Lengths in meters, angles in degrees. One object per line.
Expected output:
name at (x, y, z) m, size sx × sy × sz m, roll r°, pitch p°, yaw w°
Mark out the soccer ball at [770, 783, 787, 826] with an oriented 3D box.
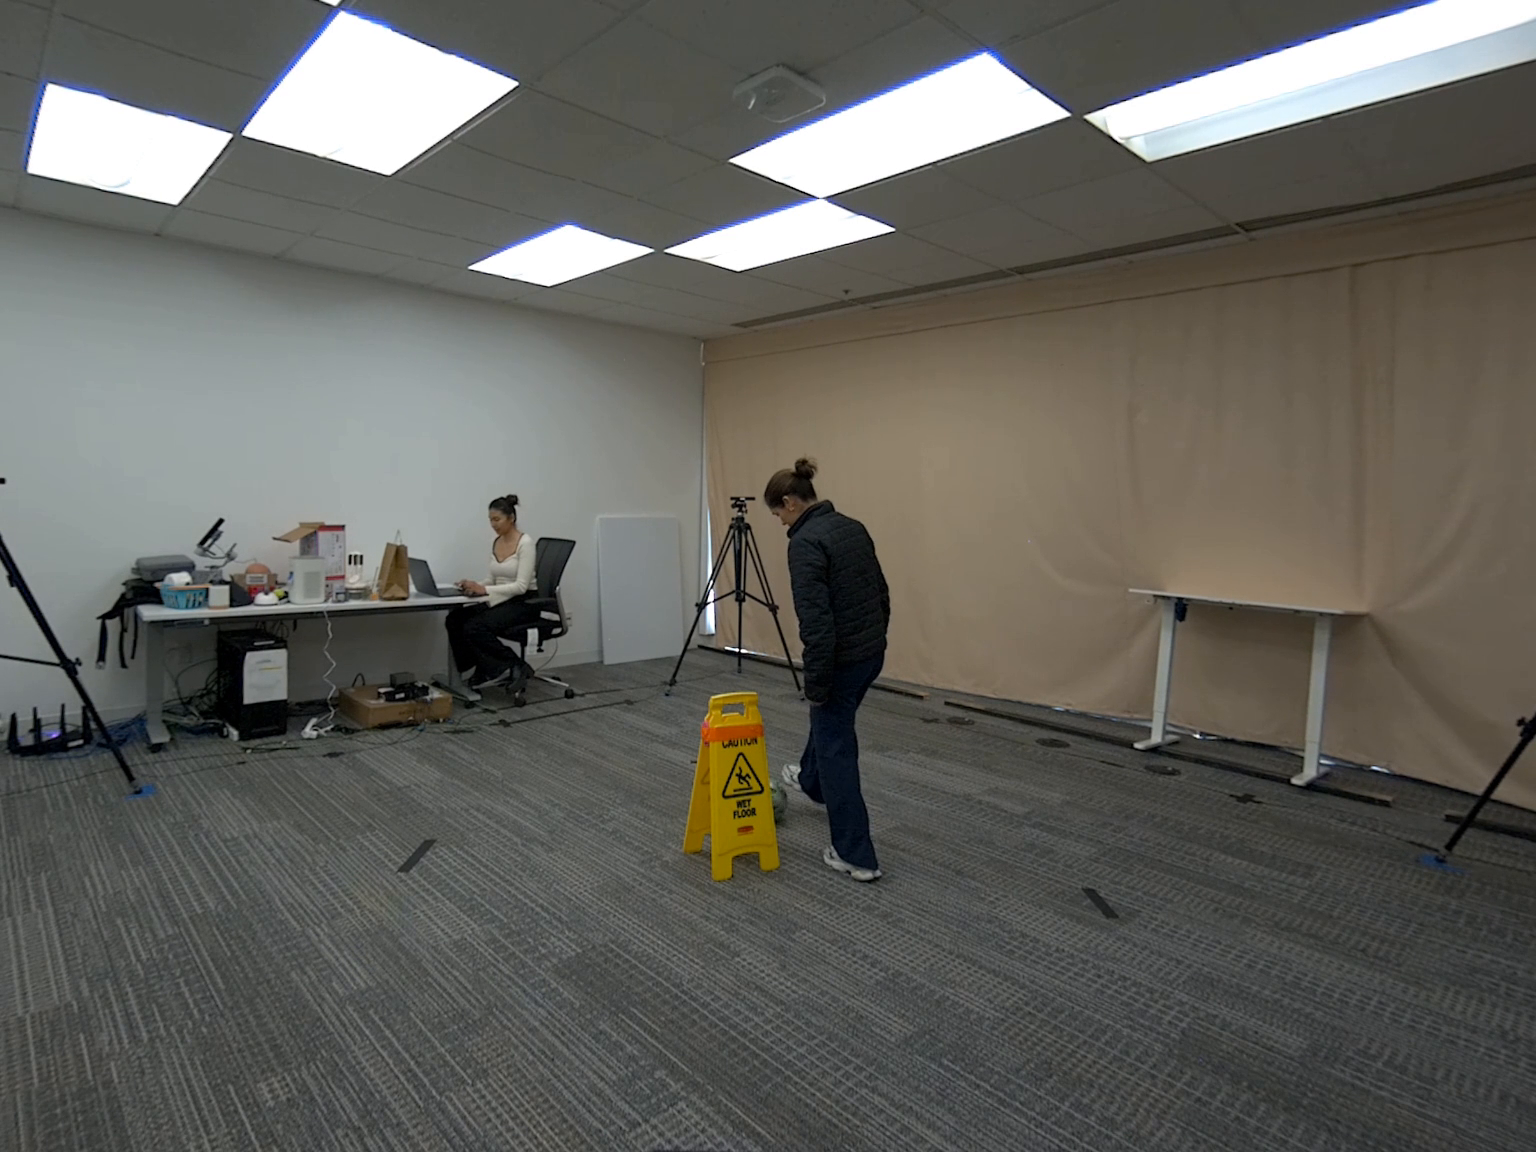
soccer ball at (-0.010, 0.976, 3.641) m, size 0.187 × 0.187 × 0.188 m, roll 1°, pitch 4°, yaw -1°
